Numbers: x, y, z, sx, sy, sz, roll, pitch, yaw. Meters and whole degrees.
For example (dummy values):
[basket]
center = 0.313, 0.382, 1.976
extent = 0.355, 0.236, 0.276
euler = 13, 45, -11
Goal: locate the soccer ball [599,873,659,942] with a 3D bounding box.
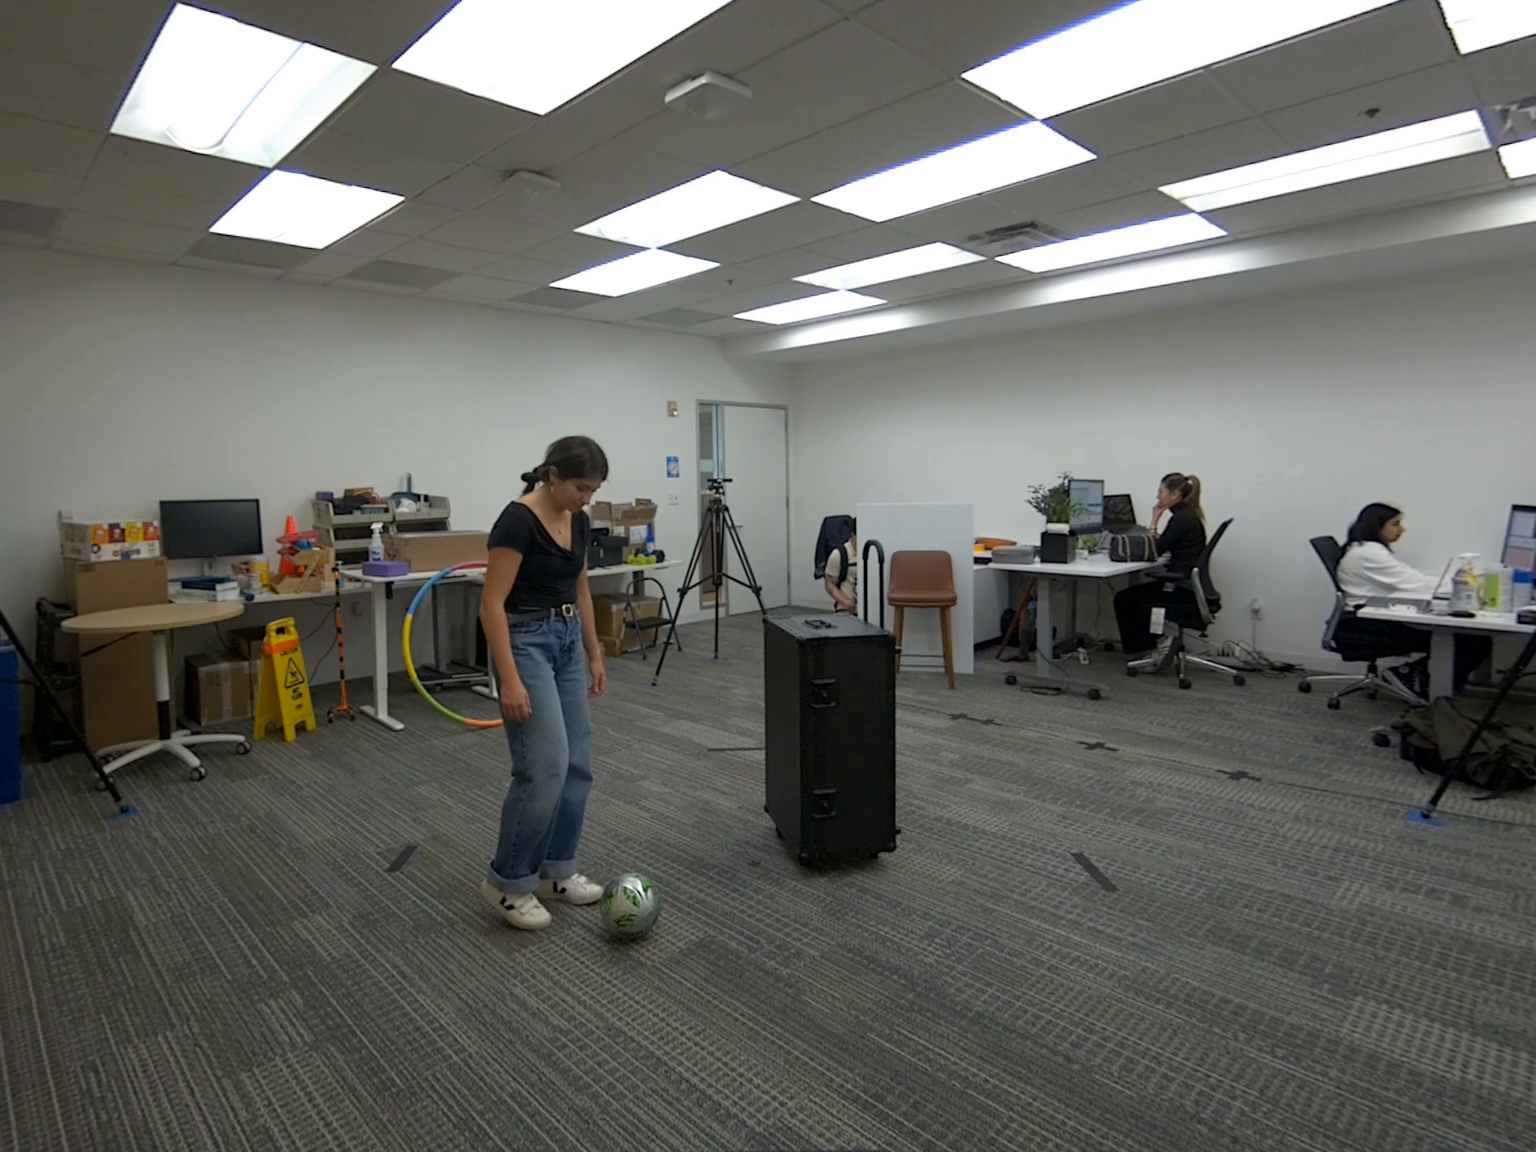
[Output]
[soccer ball]
center = -0.420, 1.012, 2.626
extent = 0.187, 0.187, 0.188
euler = -1, 5, -2
